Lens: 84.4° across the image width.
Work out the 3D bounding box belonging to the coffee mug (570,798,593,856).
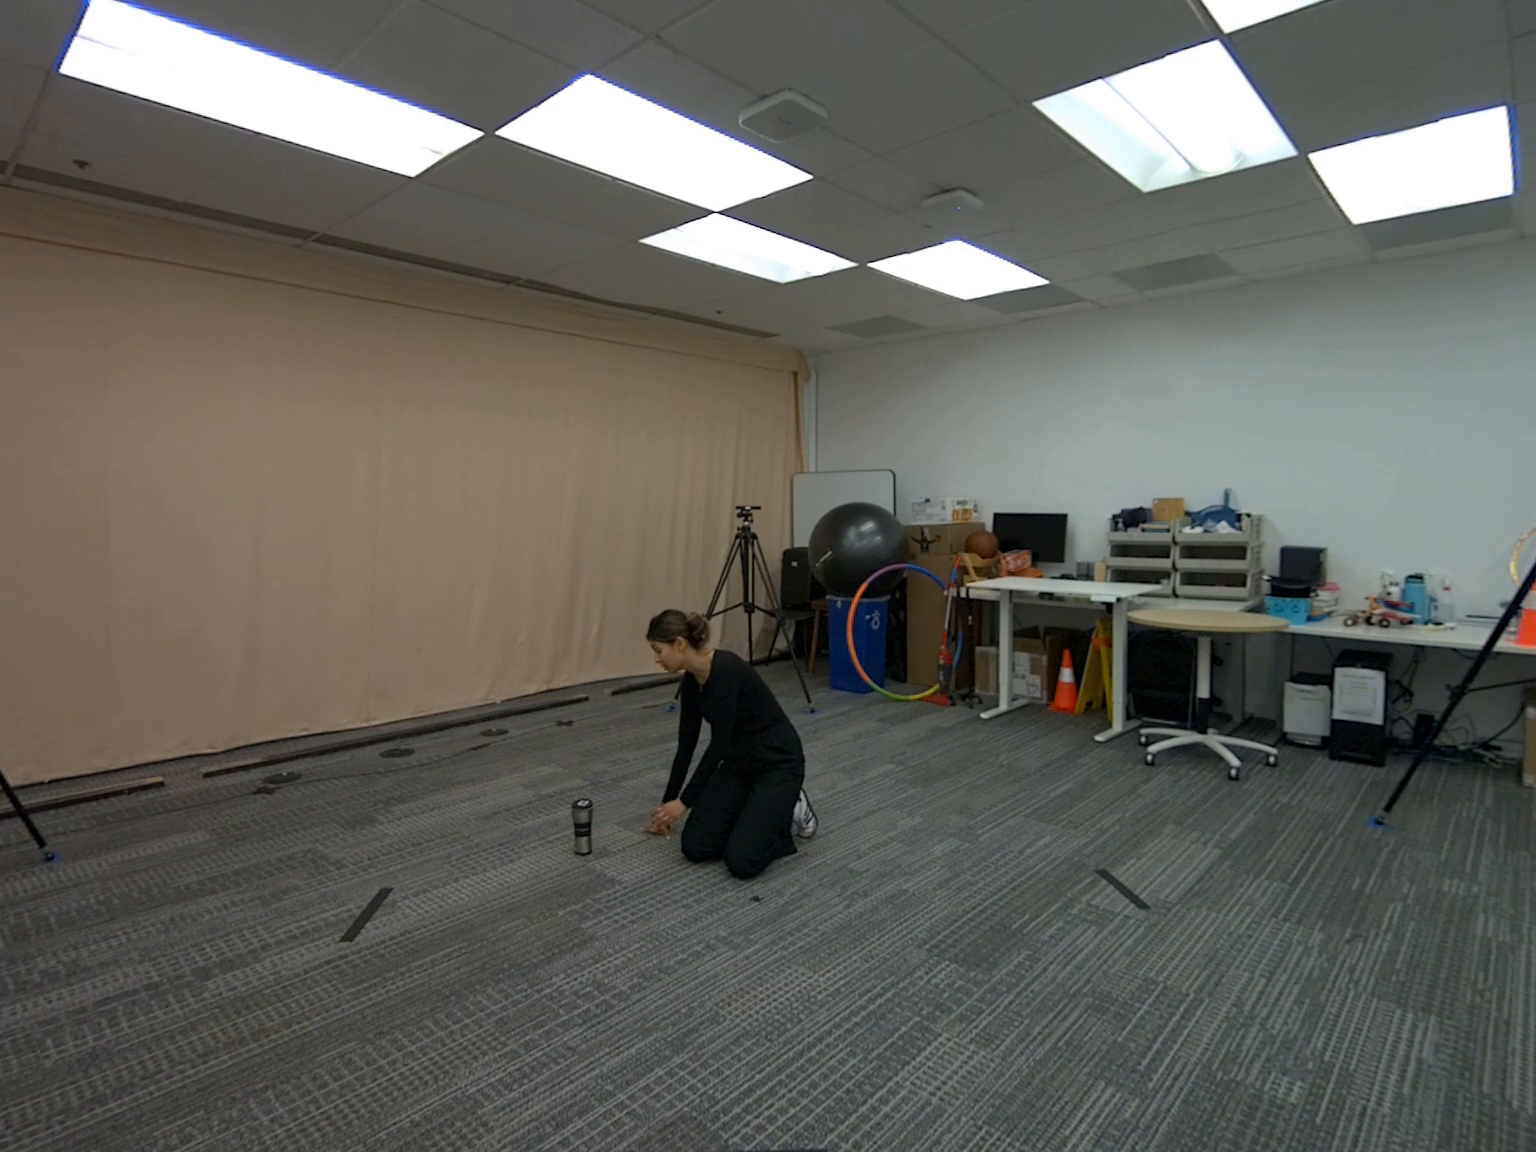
[{"bbox_3d":[-0.752,1.021,3.426,0.087,0.202,0.124,-3,6,-11],"label":"coffee mug"}]
